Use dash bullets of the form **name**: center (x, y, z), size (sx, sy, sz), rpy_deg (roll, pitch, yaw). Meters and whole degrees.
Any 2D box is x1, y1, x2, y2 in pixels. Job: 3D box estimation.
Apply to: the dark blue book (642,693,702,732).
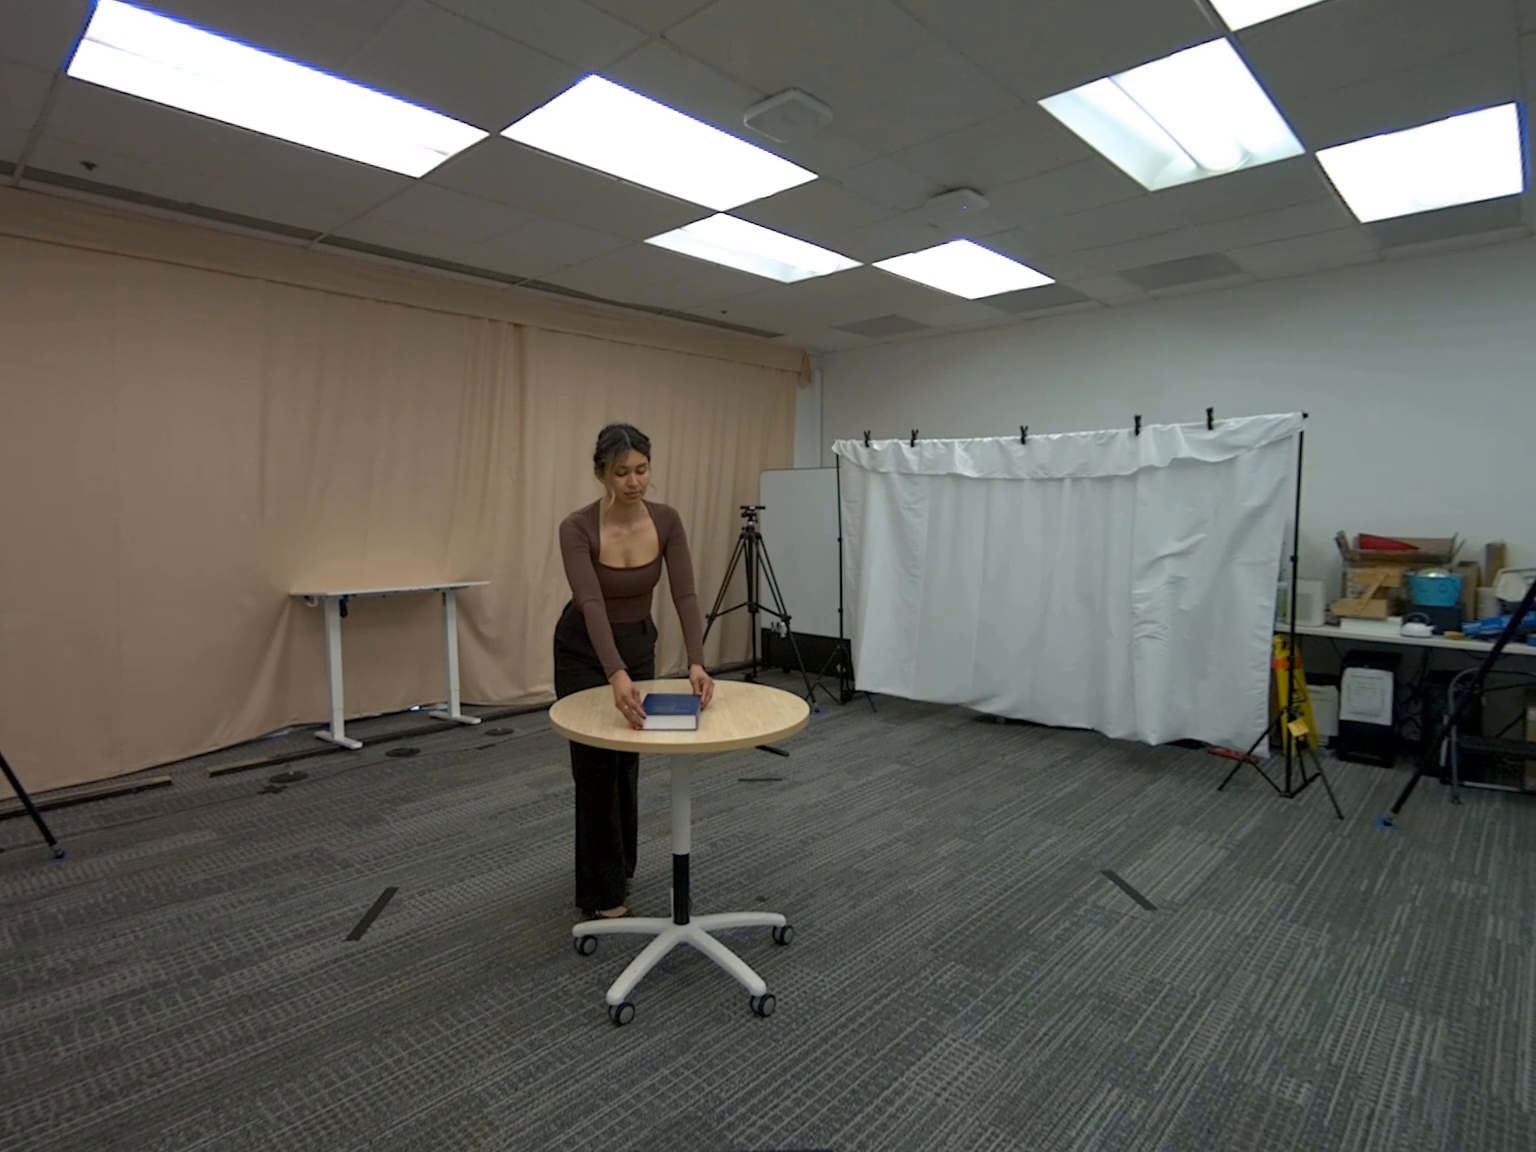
- **dark blue book**: center (-0.268, 0.385, 2.350), size (0.163, 0.045, 0.245), rpy_deg (0, 5, 0)
